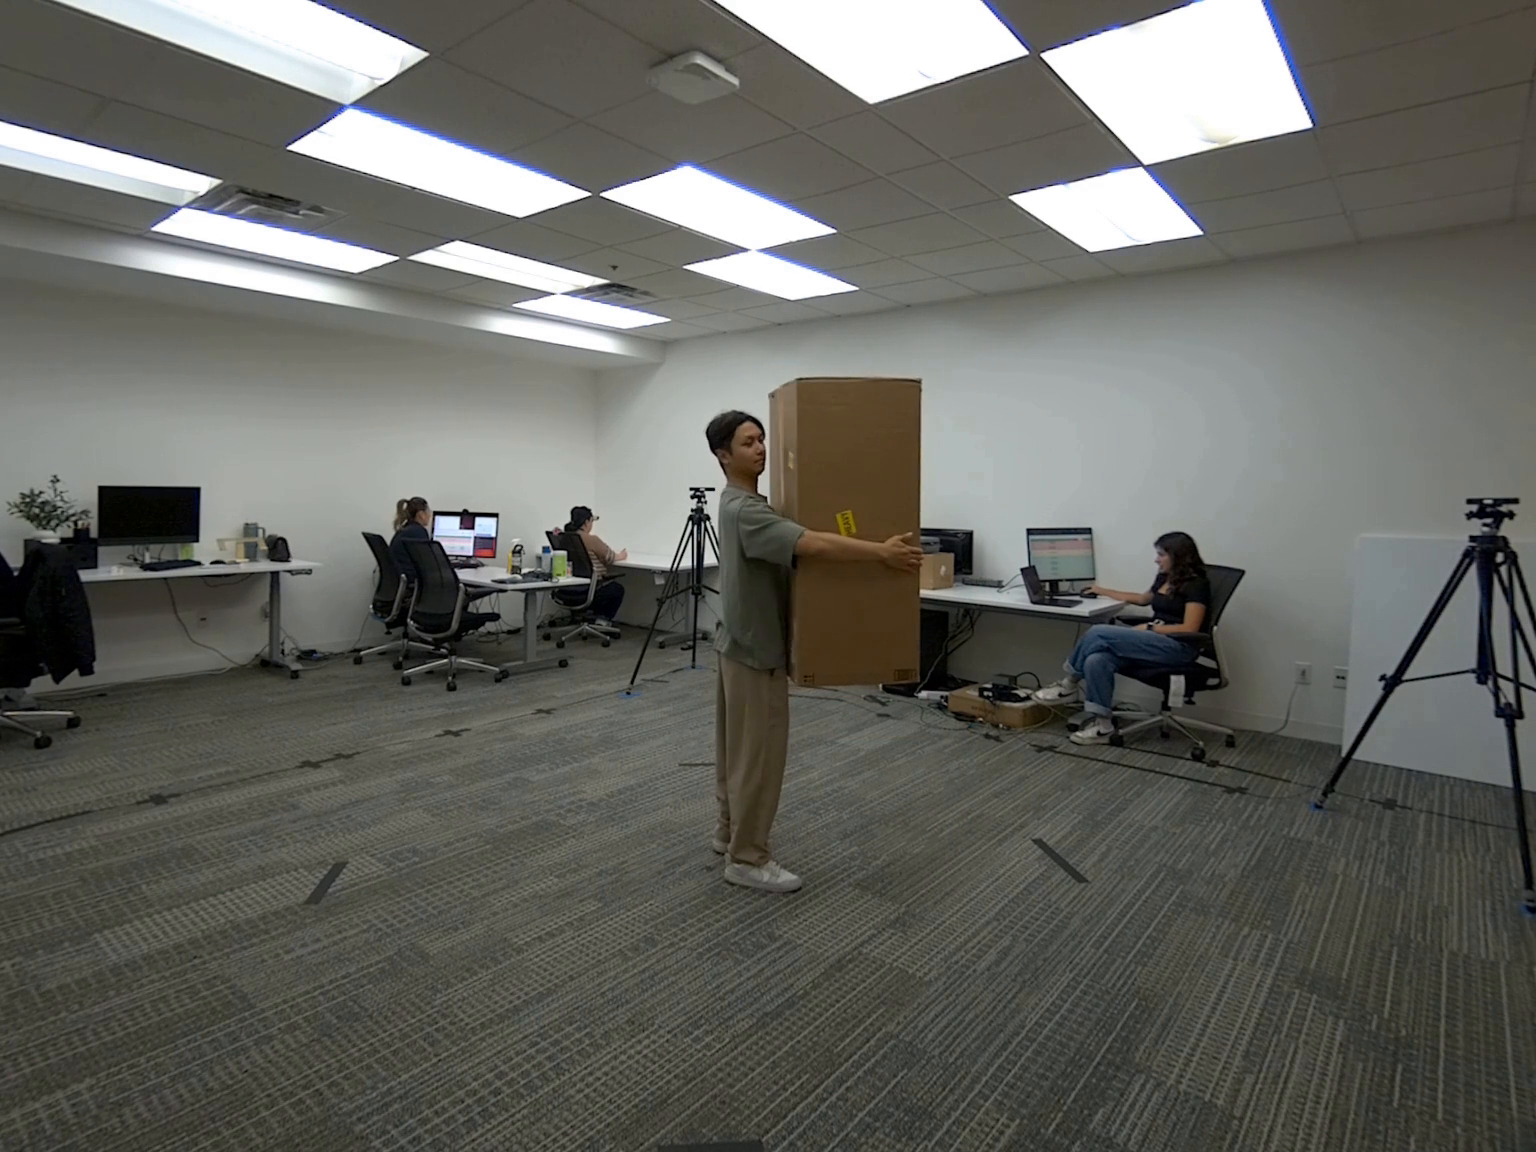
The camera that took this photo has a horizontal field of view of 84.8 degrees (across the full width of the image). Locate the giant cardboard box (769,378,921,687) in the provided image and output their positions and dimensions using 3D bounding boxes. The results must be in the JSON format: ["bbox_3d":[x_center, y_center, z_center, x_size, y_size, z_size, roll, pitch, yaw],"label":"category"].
[{"bbox_3d":[0.247,-0.182,3.091,0.423,1.021,0.585,-1,5,-8],"label":"giant cardboard box"}]
